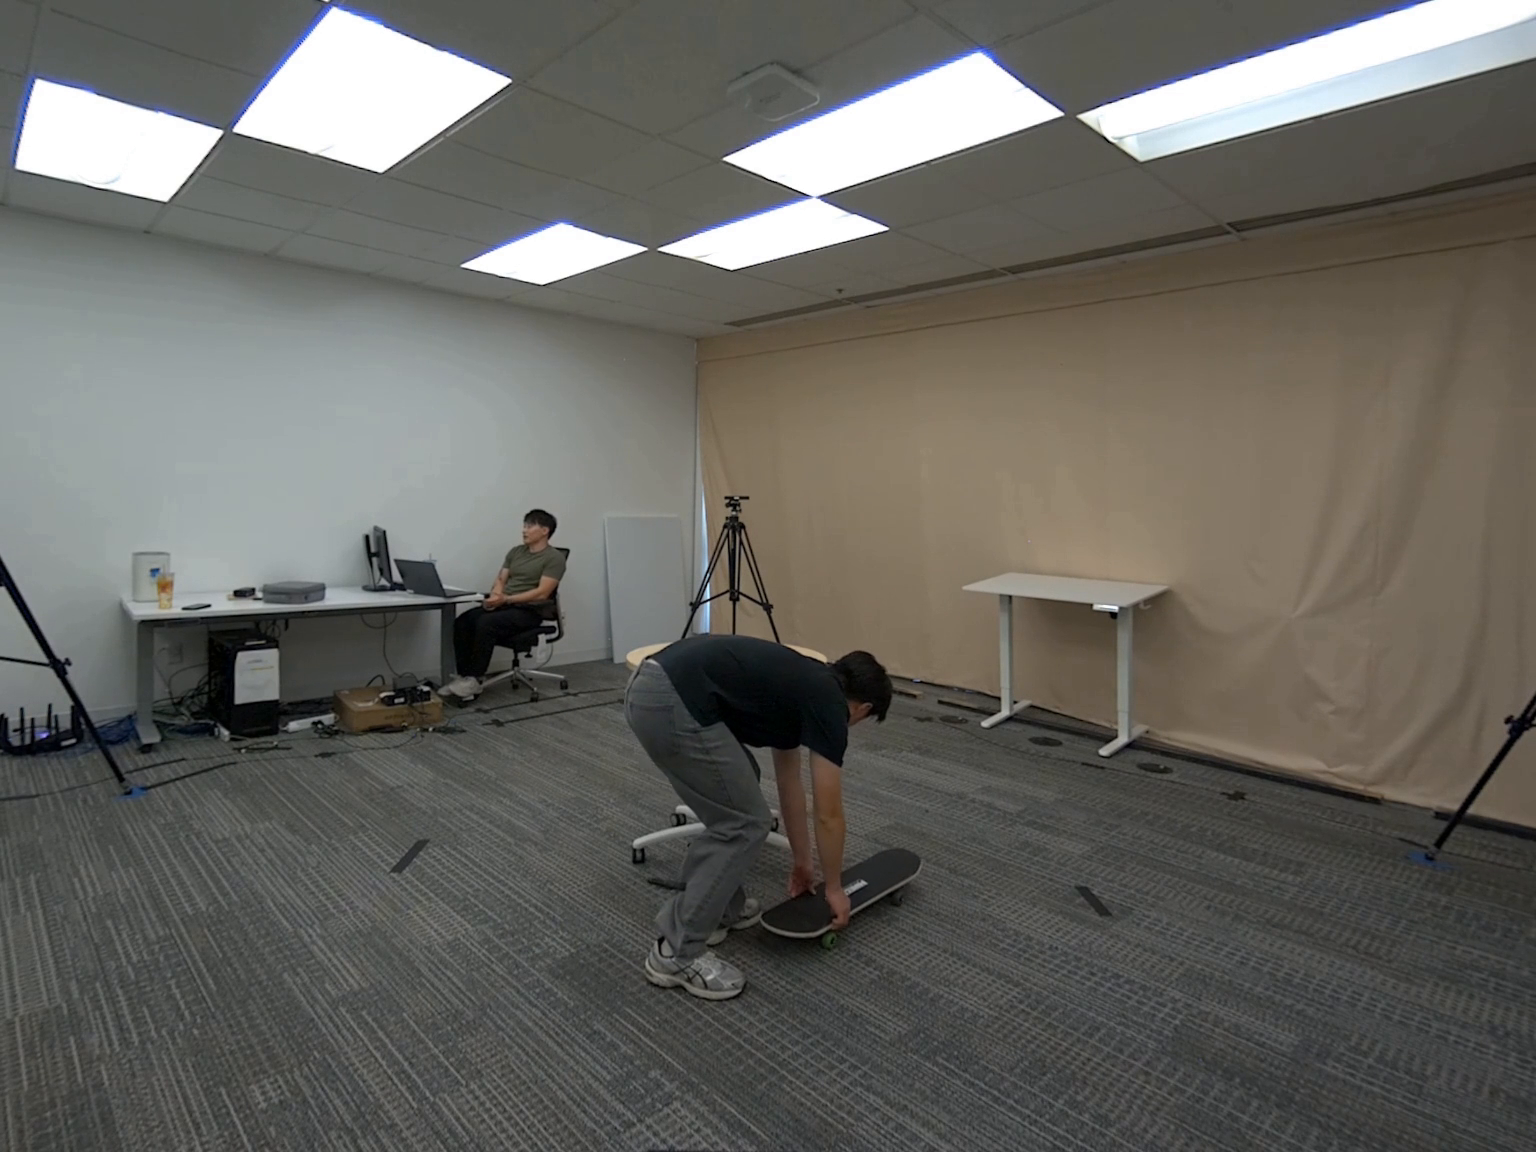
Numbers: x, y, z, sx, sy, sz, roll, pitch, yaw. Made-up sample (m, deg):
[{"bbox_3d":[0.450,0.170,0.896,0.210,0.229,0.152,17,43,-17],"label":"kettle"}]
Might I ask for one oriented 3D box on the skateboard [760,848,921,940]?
[{"bbox_3d":[0.260,1.084,2.803,0.198,0.110,0.768,5,7,41],"label":"skateboard"}]
